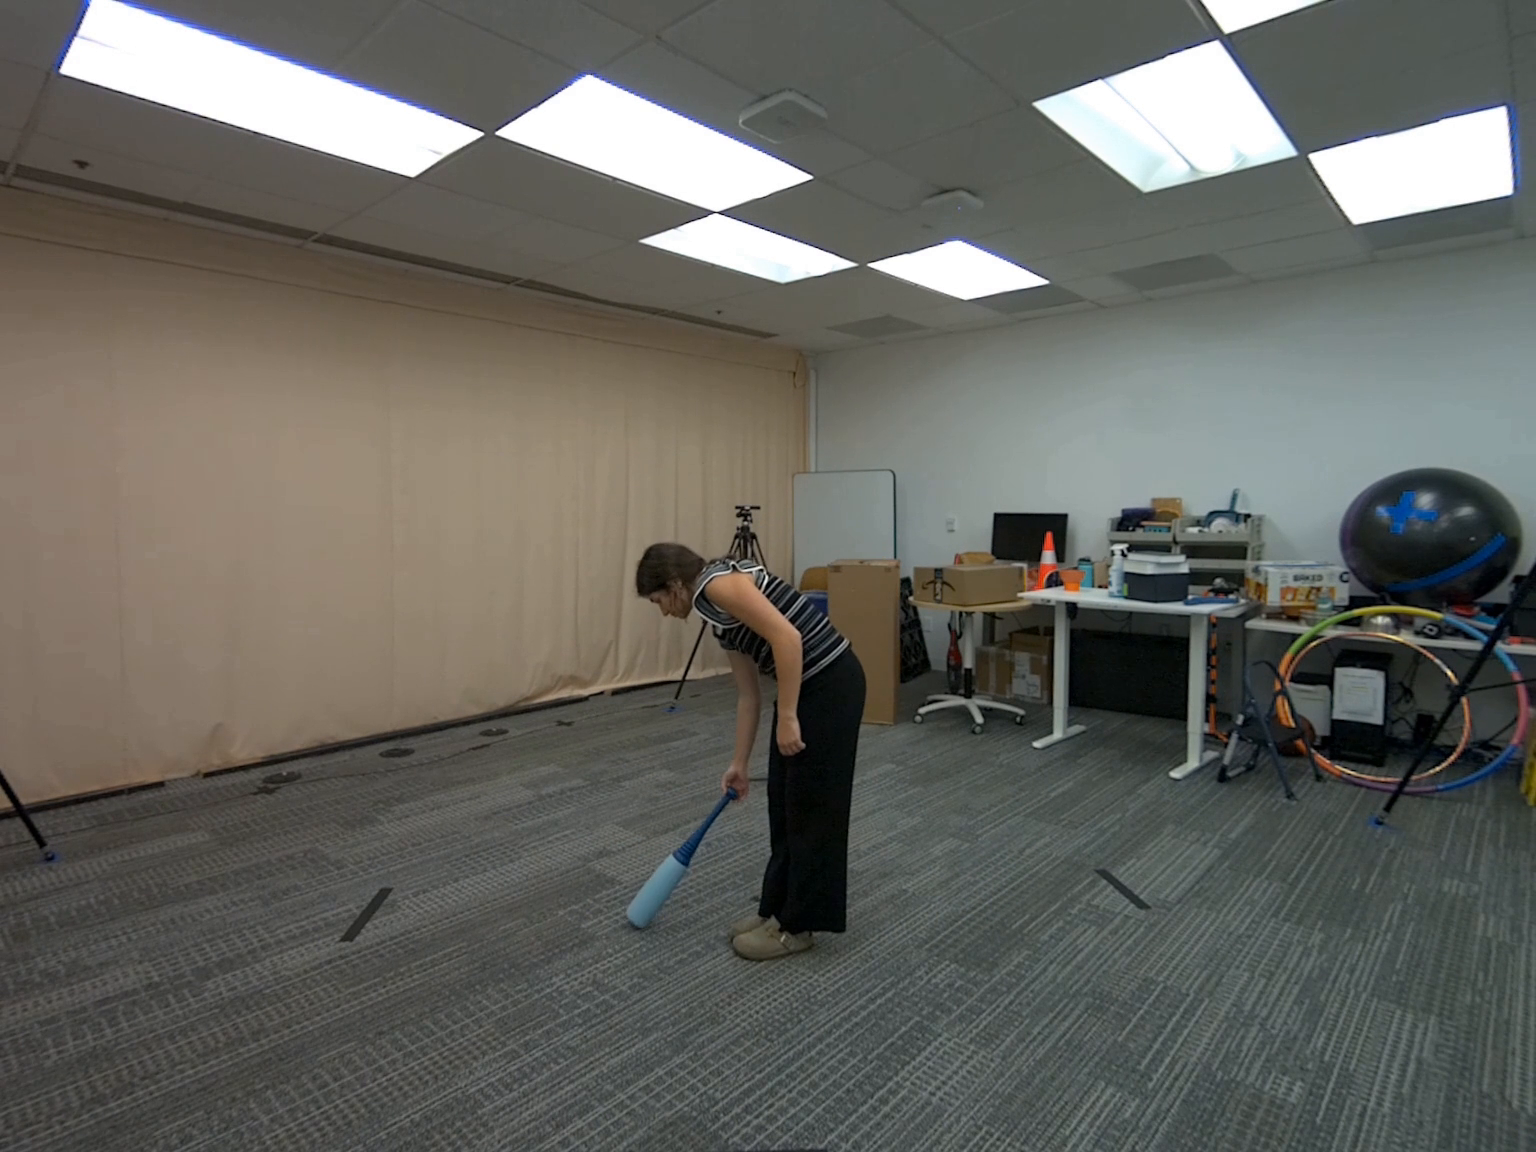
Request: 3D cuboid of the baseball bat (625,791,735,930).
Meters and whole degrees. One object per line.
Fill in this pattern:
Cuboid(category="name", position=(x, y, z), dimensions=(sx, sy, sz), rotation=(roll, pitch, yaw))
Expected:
Cuboid(category="baseball bat", position=(-0.267, 0.934, 2.802), dimensions=(0.089, 0.542, 0.089), rotation=(39, -4, 1))
